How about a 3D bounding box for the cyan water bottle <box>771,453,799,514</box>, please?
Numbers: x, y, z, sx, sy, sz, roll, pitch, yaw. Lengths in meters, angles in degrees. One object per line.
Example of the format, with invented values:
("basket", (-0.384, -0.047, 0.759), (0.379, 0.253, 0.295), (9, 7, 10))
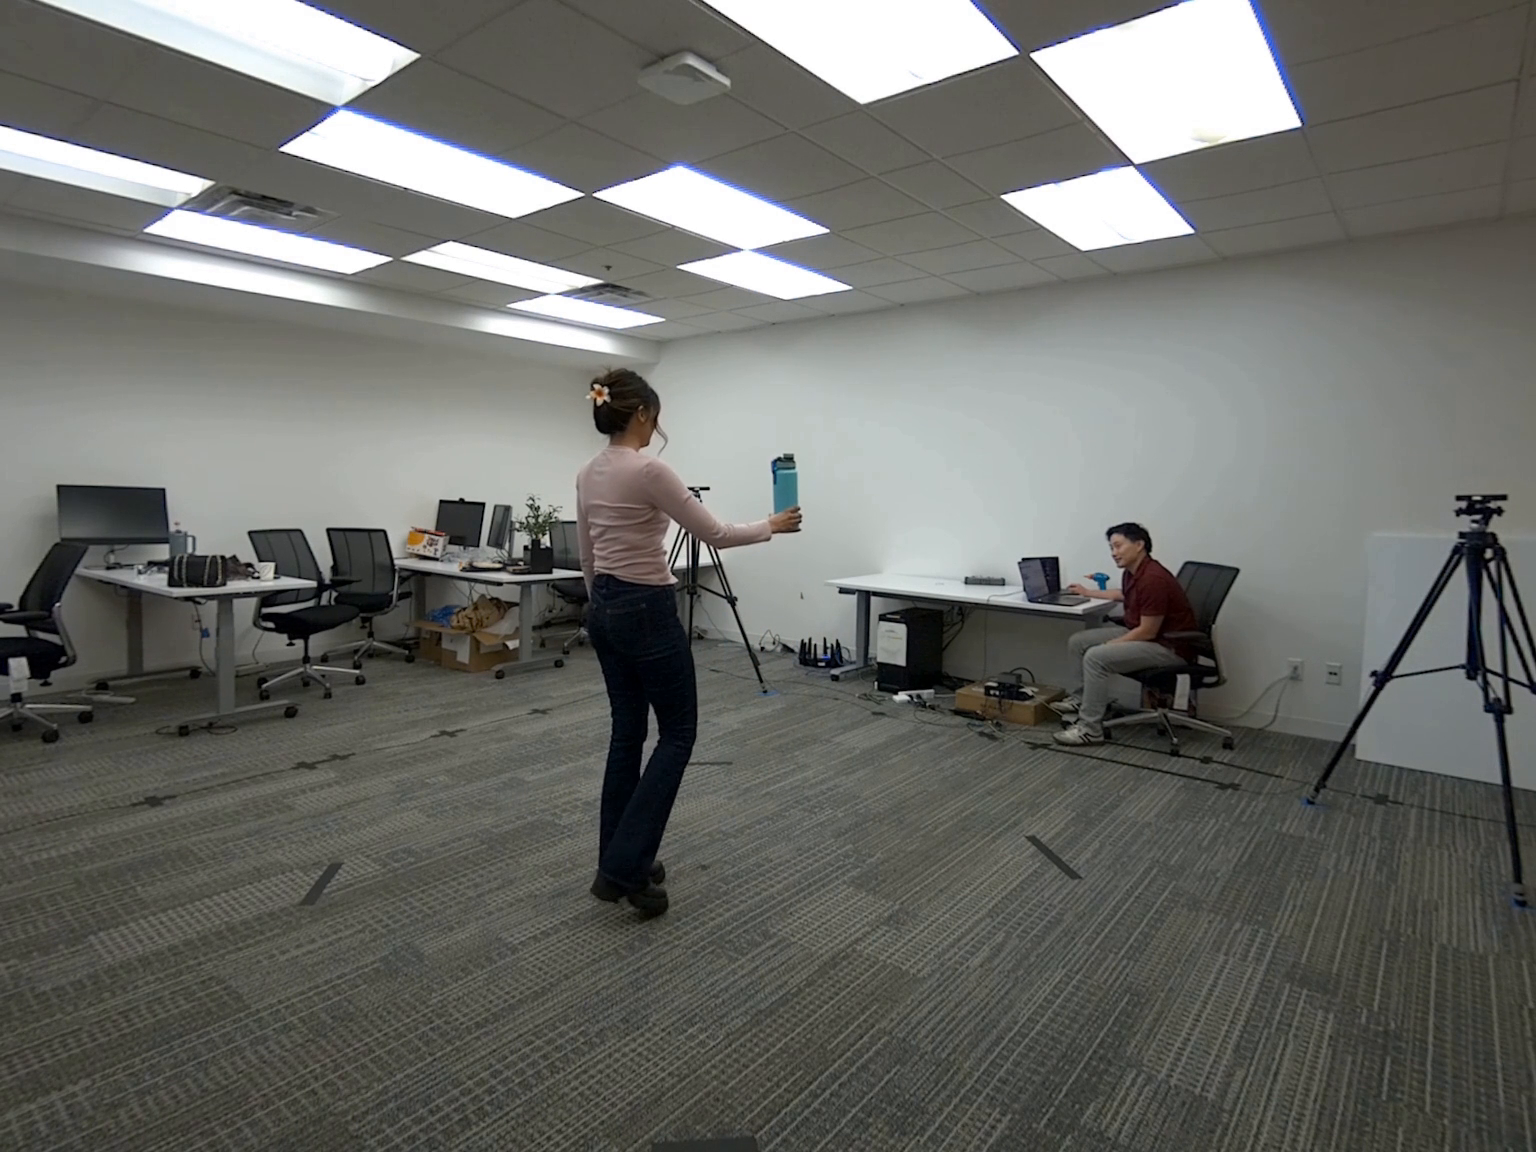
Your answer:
("cyan water bottle", (0.049, -0.302, 3.056), (0.092, 0.281, 0.093), (0, 8, -2))
